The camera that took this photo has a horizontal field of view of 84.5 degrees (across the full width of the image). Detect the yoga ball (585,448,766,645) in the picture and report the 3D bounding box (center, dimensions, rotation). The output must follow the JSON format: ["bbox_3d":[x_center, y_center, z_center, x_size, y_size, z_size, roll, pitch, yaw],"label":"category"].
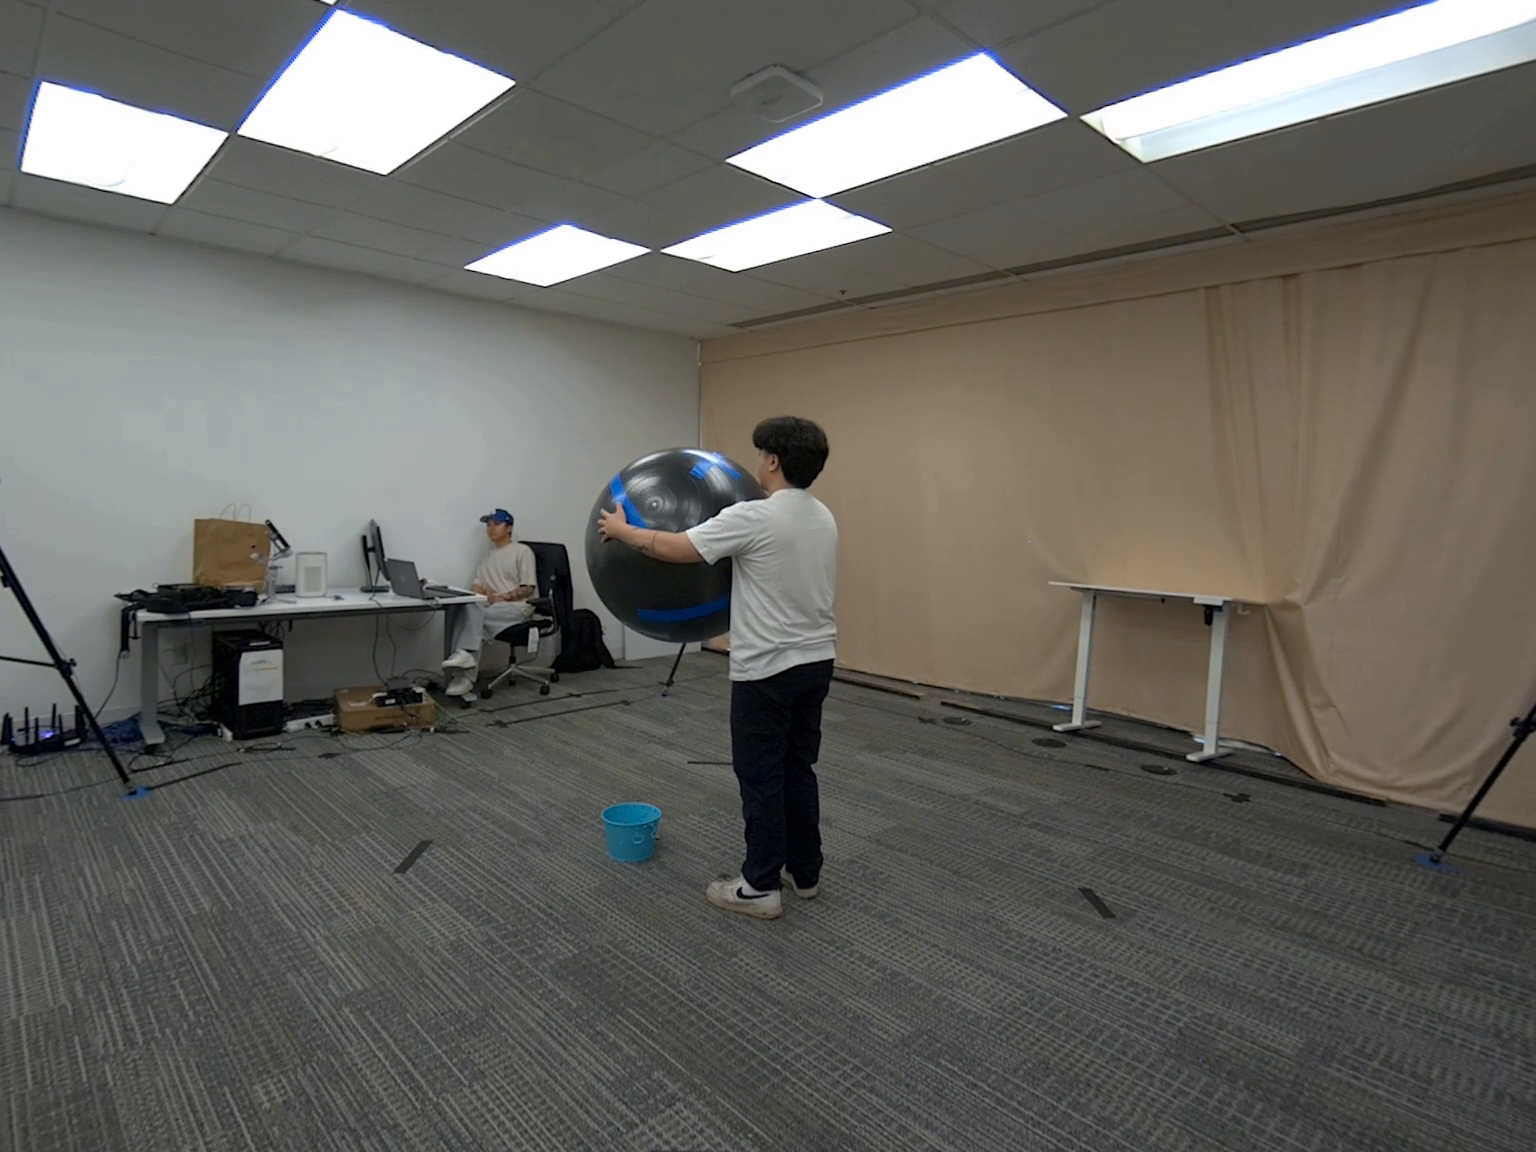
[{"bbox_3d":[-0.331,-0.111,3.280,0.757,0.756,0.760,1,4,-1],"label":"yoga ball"}]
